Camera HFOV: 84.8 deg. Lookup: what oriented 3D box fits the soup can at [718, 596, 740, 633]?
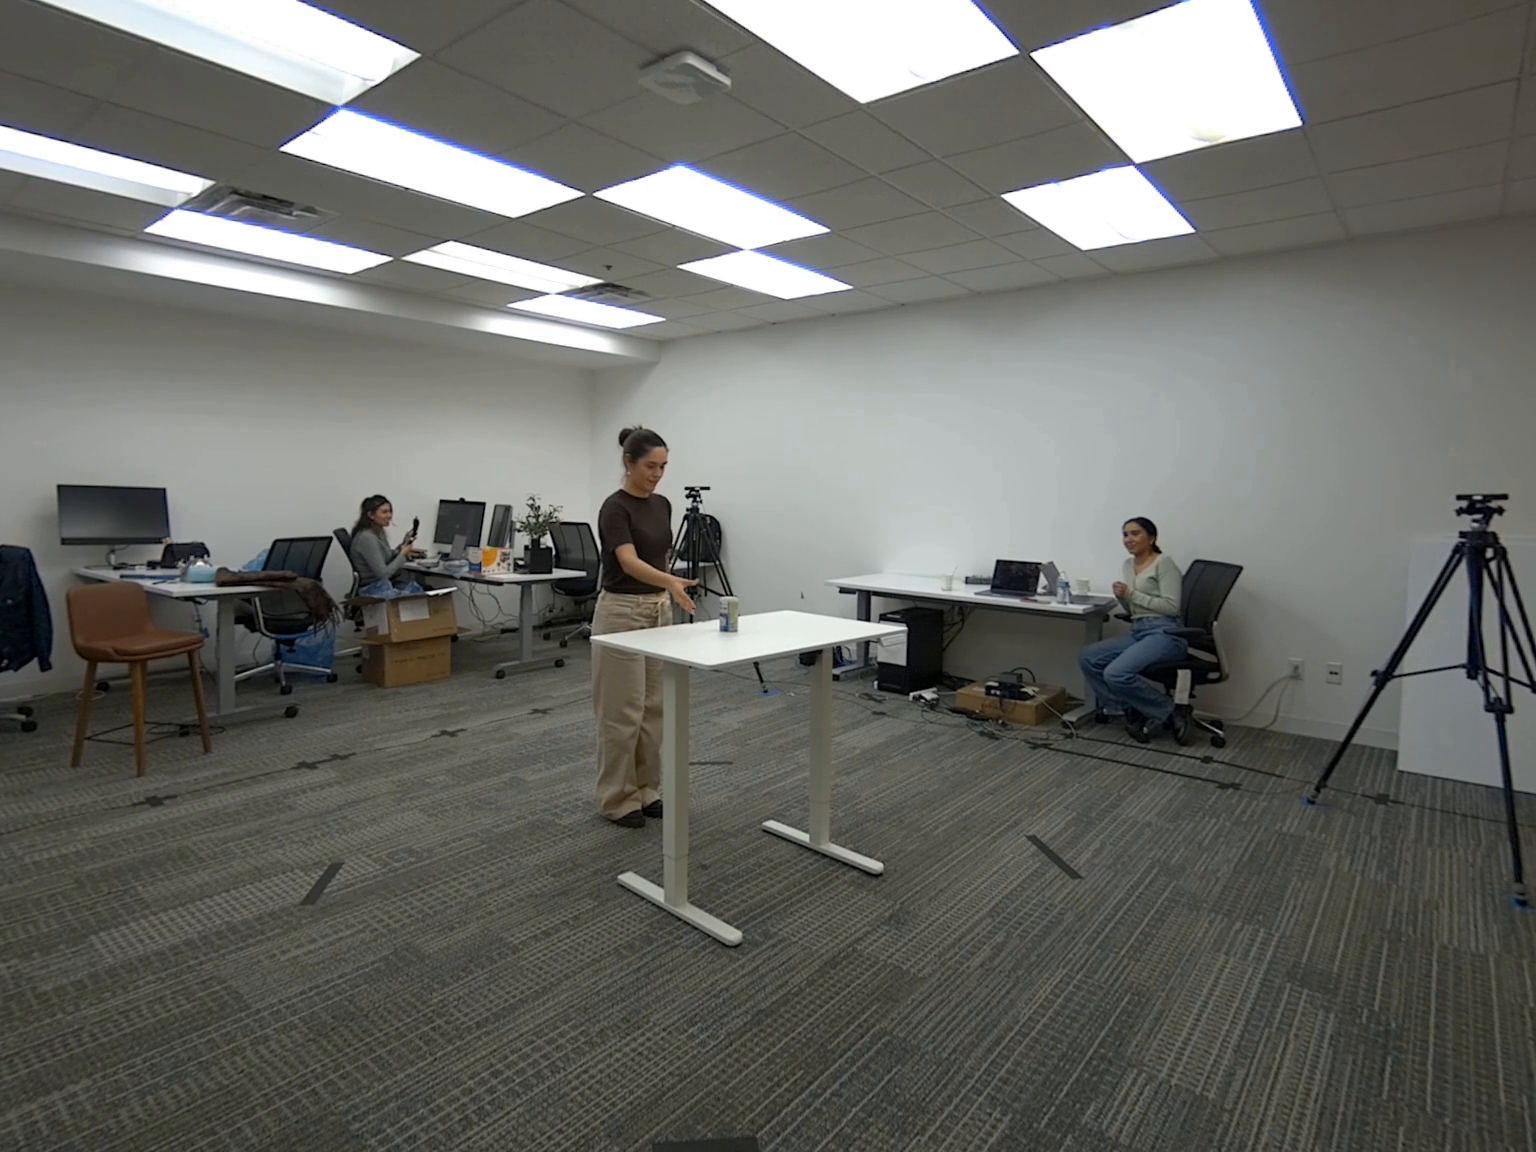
[{"bbox_3d":[-0.151,0.132,3.018,0.067,0.121,0.067,2,3,-2],"label":"soup can"}]
